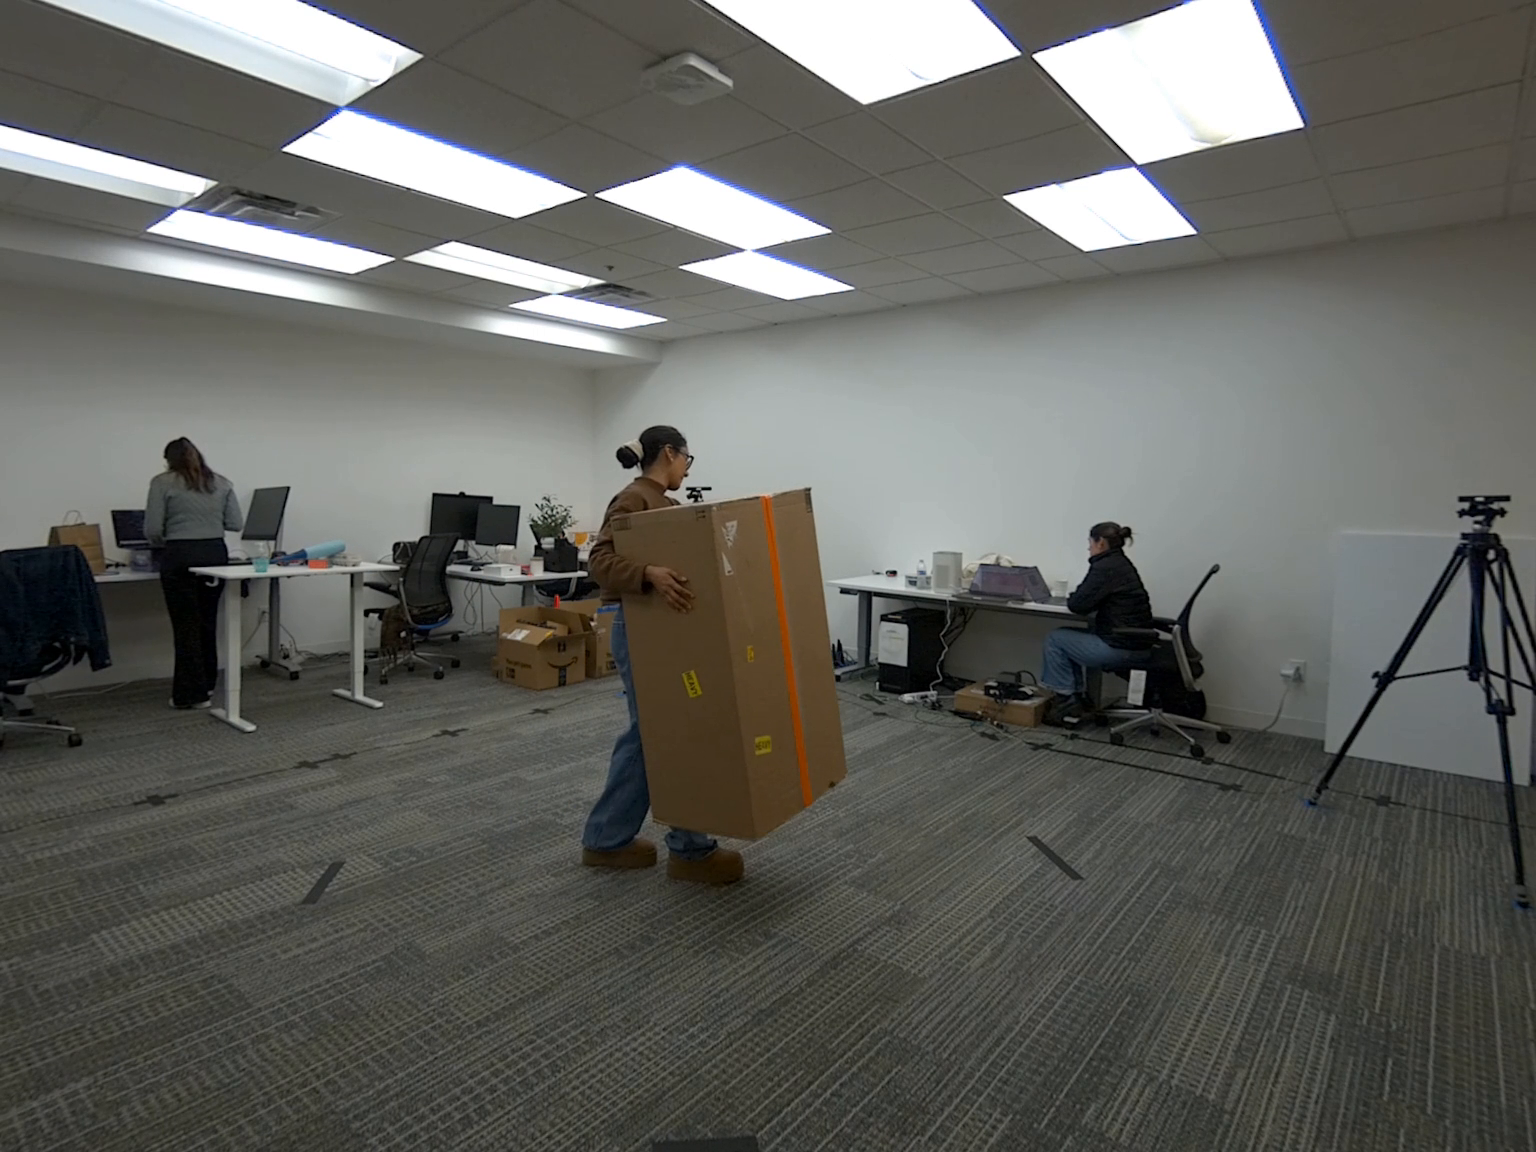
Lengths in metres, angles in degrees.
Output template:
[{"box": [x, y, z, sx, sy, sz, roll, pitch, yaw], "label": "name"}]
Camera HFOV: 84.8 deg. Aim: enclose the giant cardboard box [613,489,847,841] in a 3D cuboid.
[{"box": [-0.117, 0.257, 2.860, 0.438, 1.022, 0.563, -5, 4, 36], "label": "giant cardboard box"}]
